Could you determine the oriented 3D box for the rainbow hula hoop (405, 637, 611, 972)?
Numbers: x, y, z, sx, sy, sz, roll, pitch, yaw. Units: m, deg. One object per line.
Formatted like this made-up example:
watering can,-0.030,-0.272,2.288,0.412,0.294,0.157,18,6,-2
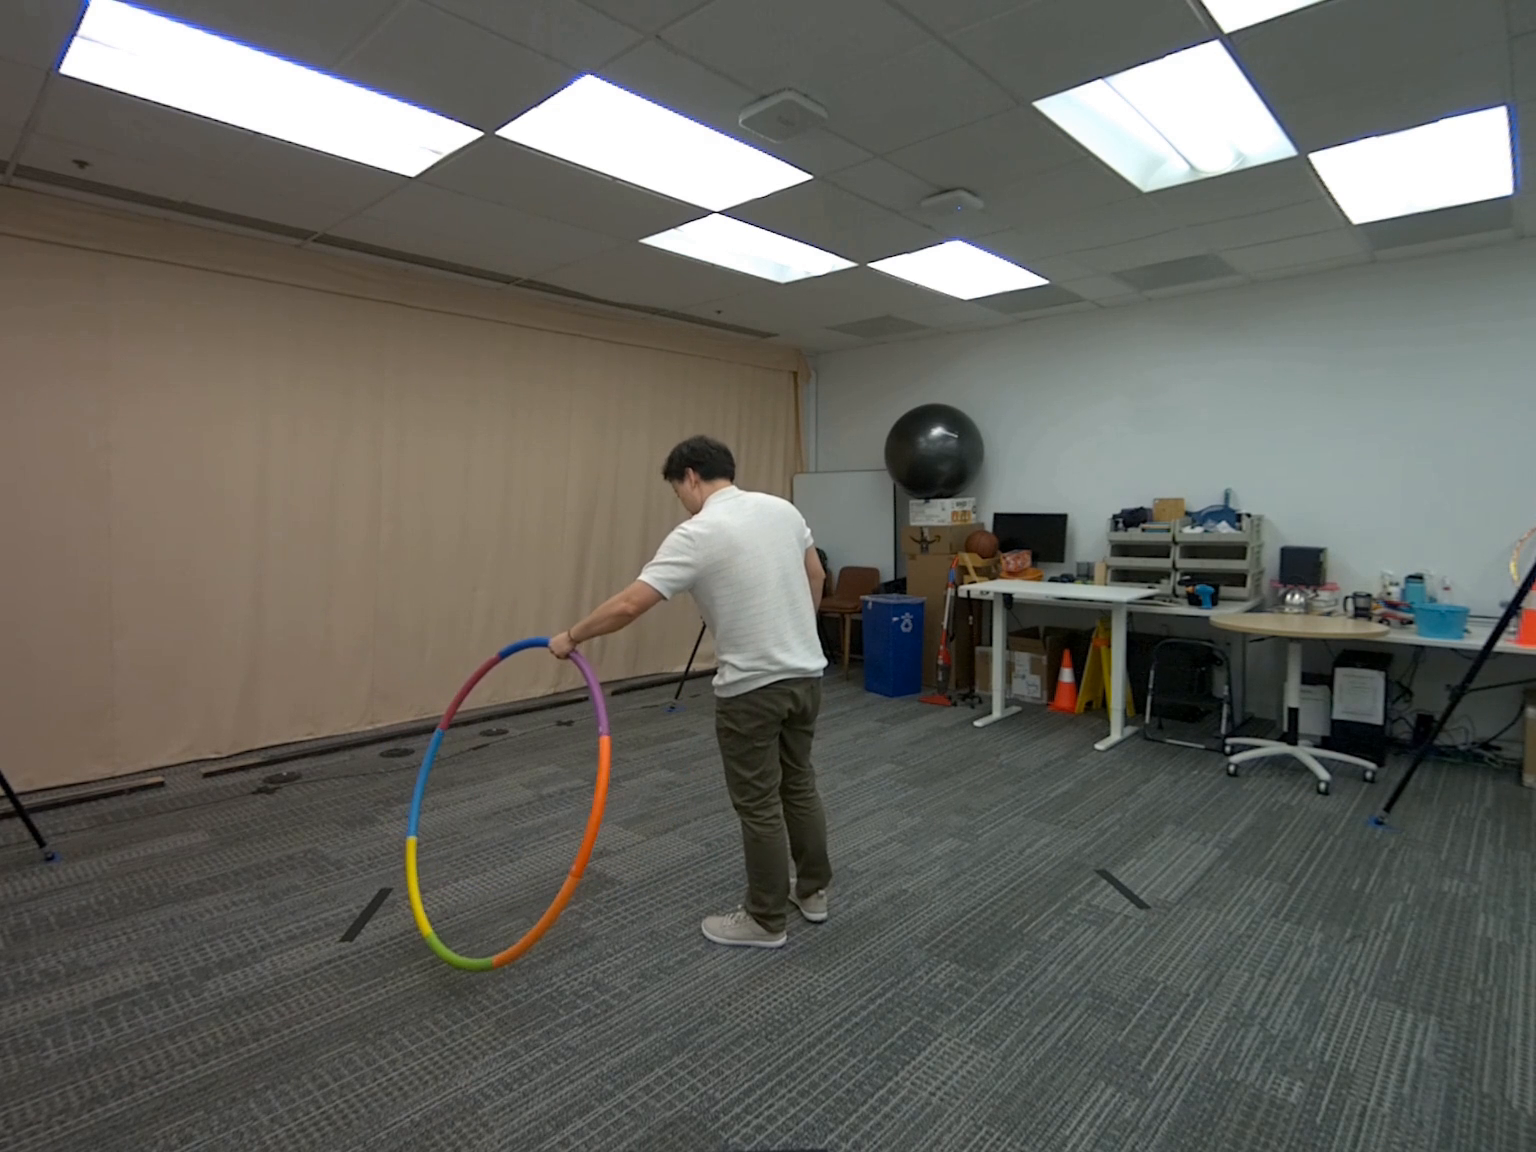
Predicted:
rainbow hula hoop,-0.817,0.670,2.594,1.011,0.982,0.034,4,-18,43
